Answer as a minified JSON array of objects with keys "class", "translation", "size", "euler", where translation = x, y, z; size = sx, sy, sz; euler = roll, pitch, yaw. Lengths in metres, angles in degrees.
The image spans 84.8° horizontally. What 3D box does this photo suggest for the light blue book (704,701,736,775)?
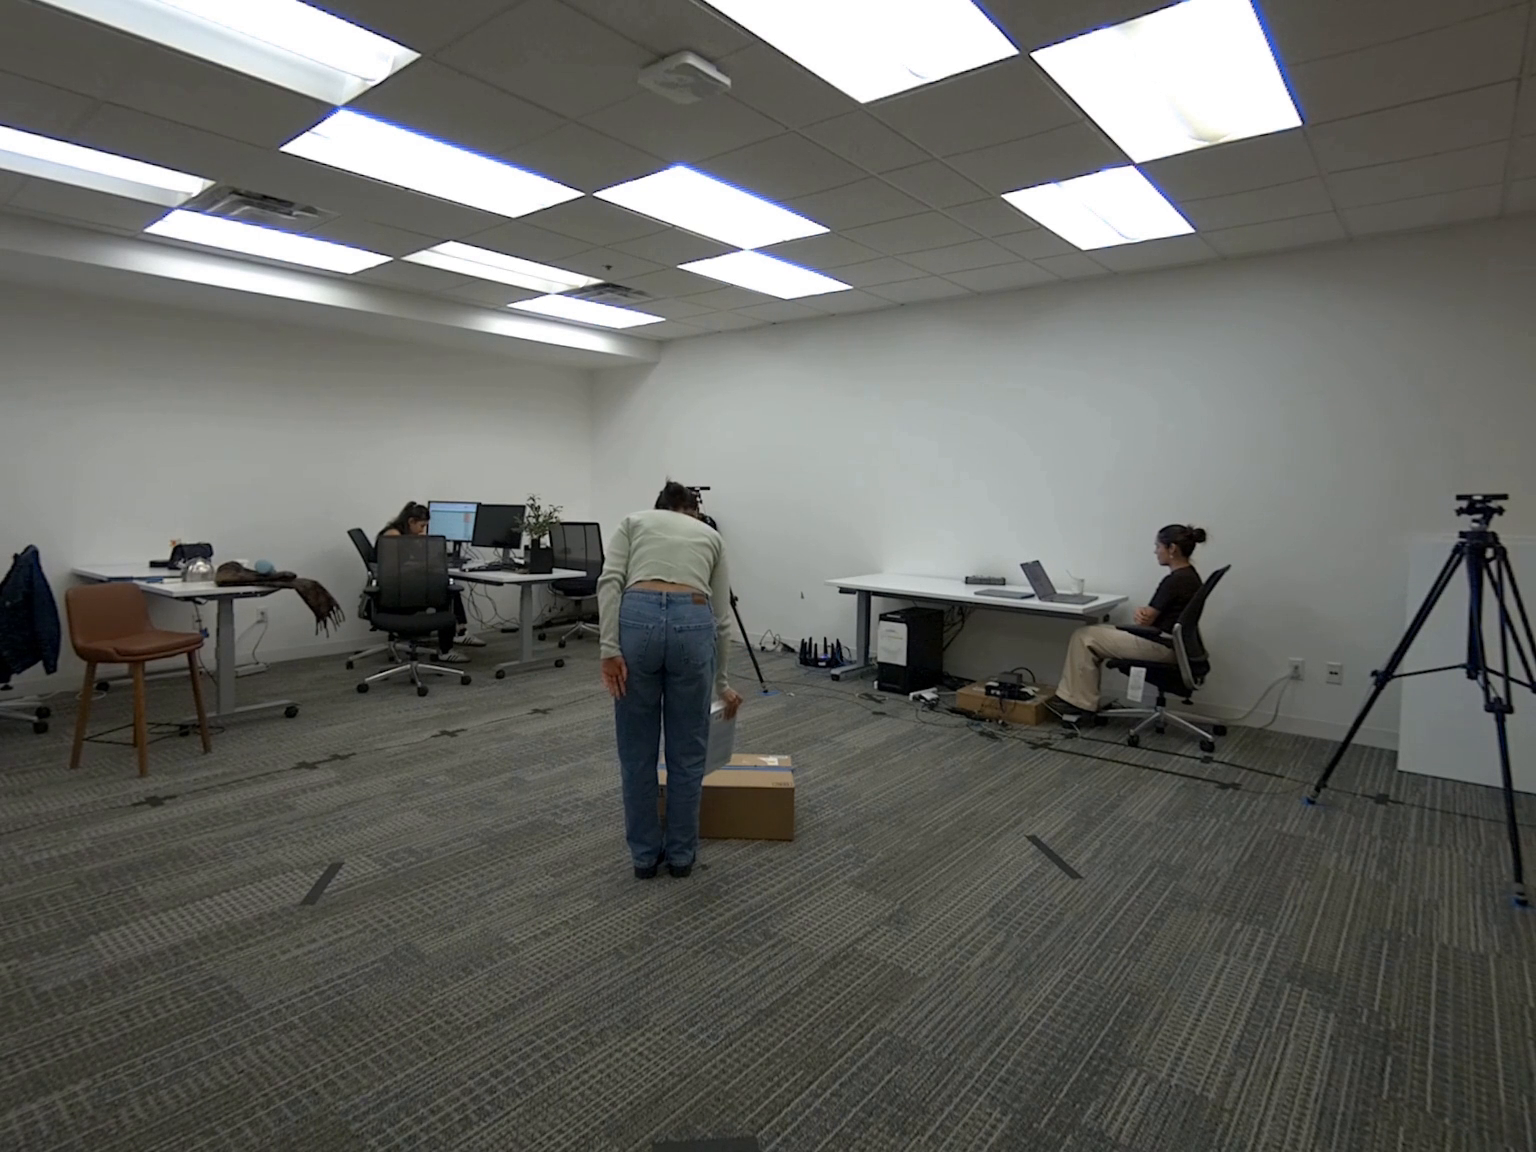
[{"class":"light blue book","translation":[-0.207,0.595,3.206],"size":[0.061,0.258,0.187],"euler":[16,17,32]}]
